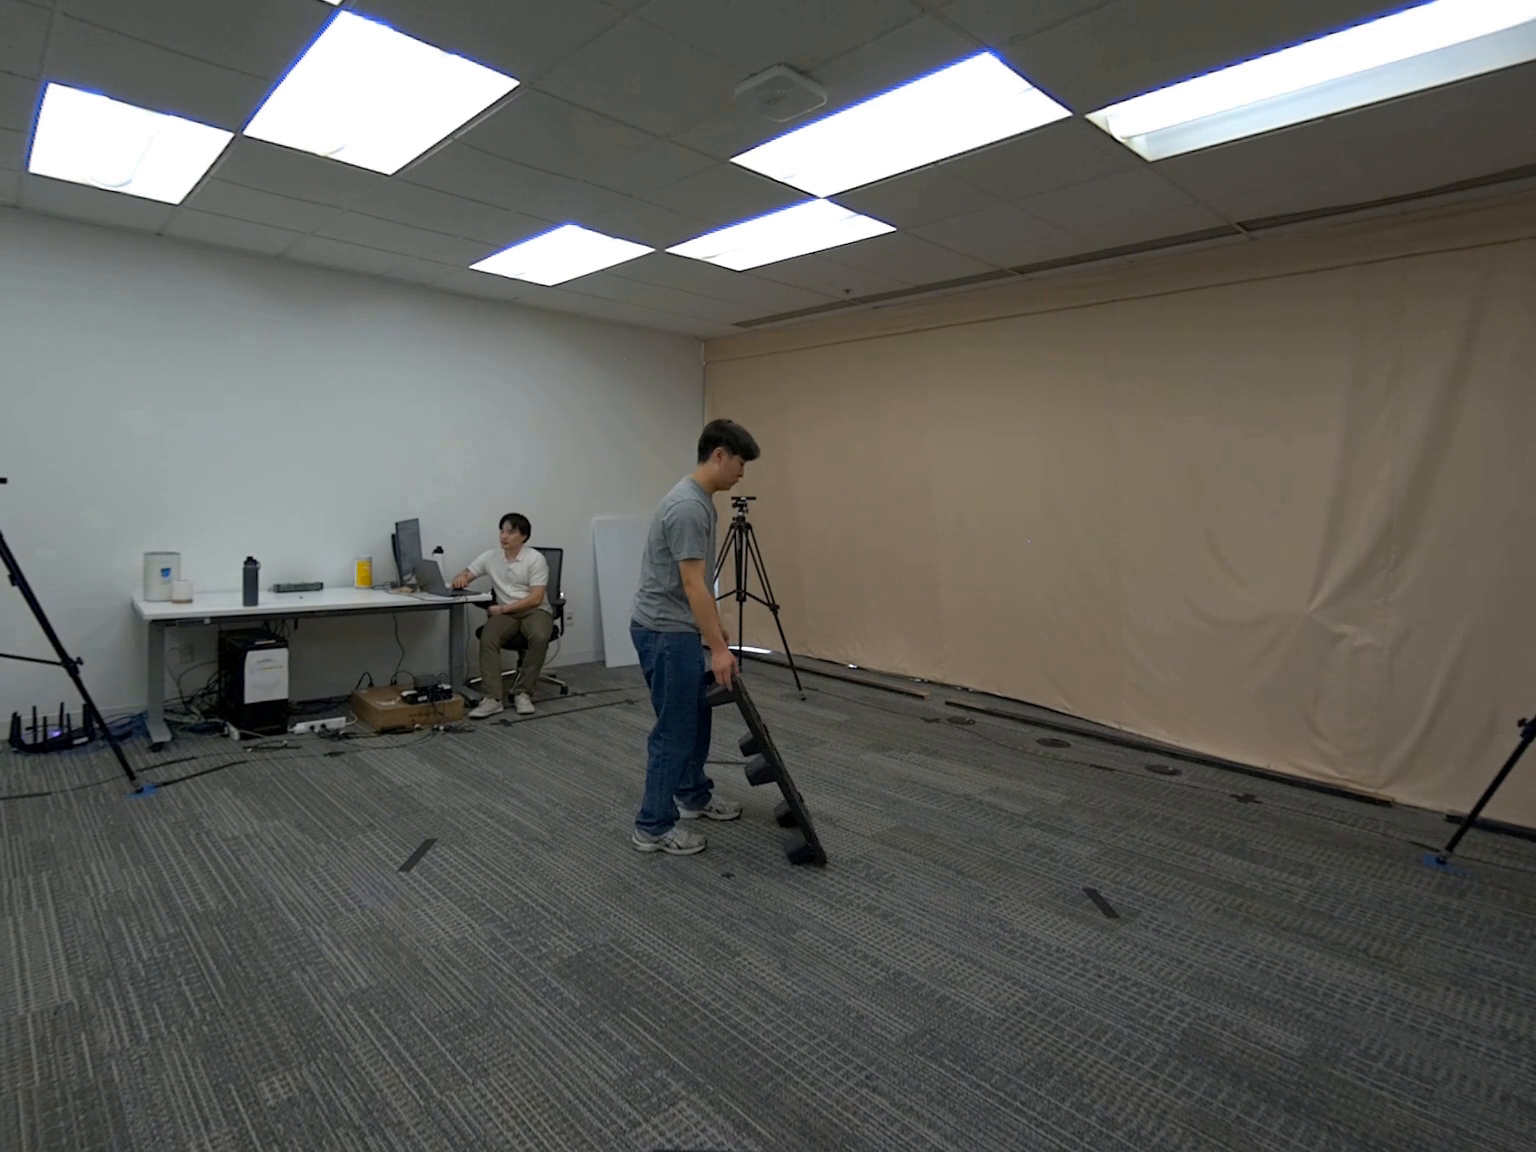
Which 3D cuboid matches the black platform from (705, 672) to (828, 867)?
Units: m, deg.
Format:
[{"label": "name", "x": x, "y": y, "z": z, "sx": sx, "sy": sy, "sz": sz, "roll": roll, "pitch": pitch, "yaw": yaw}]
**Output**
[{"label": "black platform", "x": -0.039, "y": 0.728, "z": 3.418, "sx": 0.143, "sy": 0.803, "sz": 0.607, "roll": -26, "pitch": 3, "yaw": -1}]
